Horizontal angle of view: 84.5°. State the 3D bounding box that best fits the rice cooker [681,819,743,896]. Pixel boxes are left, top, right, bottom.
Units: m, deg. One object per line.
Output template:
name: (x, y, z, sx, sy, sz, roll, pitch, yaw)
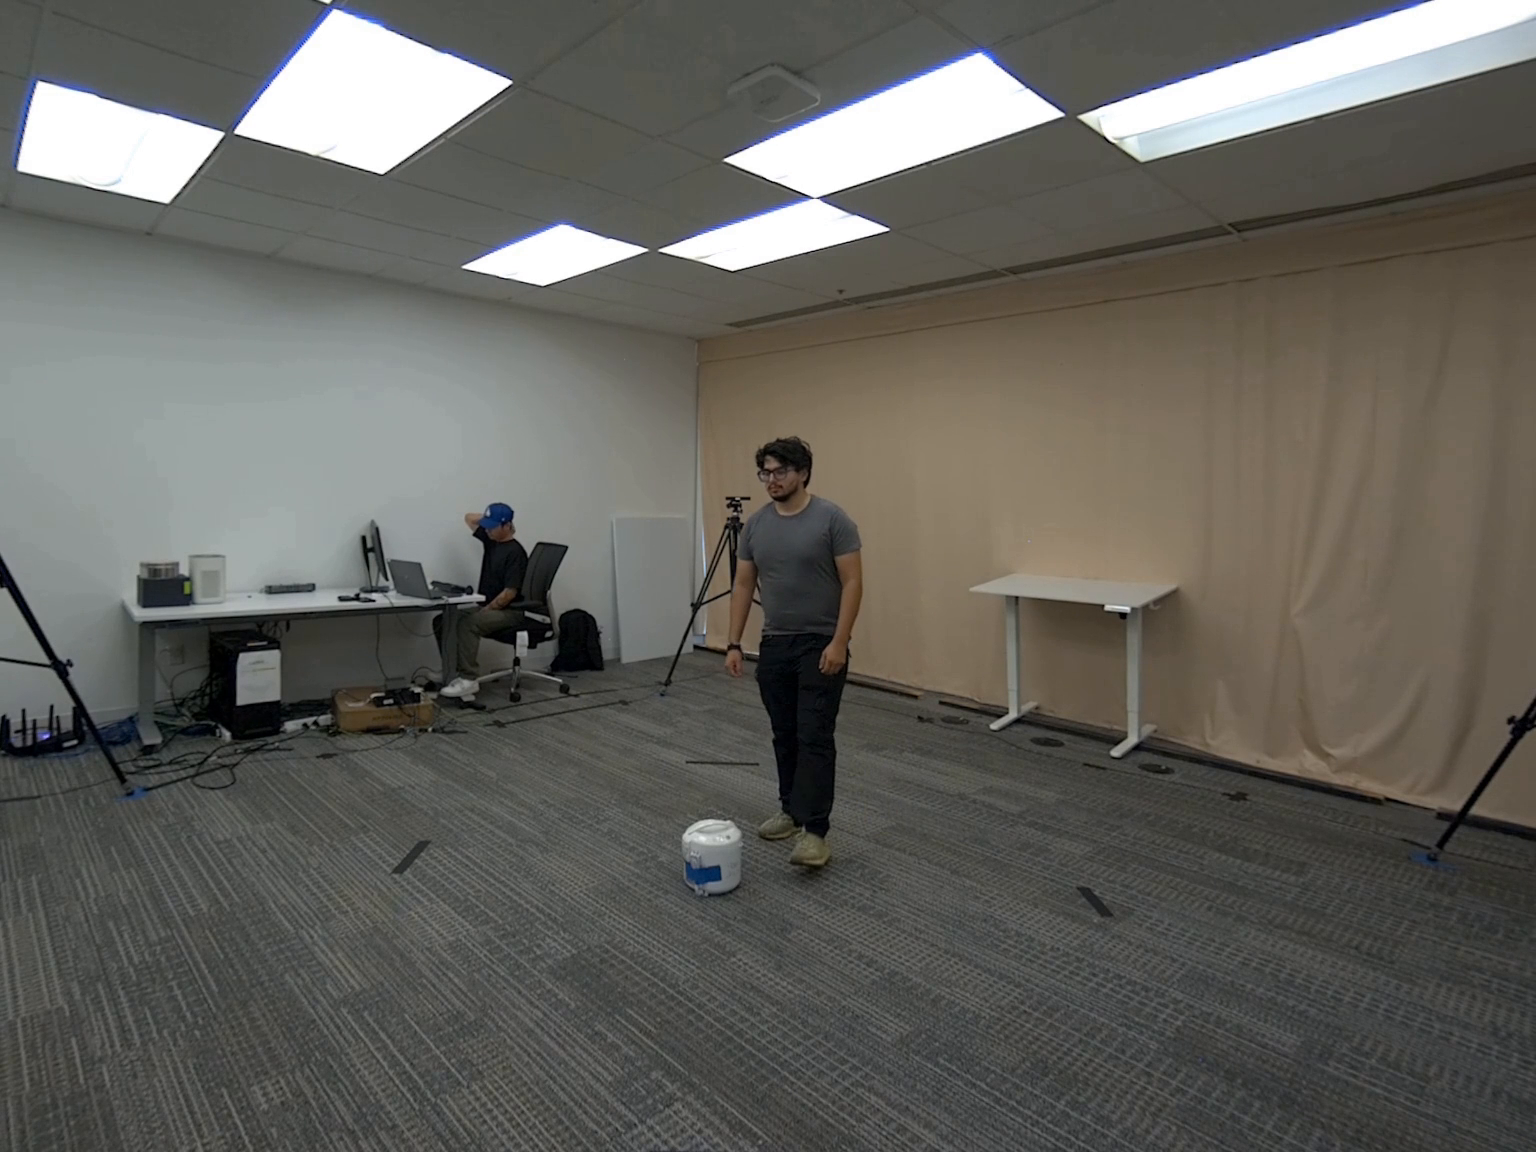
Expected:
rice cooker: (-0.207, 0.992, 3.026, 0.217, 0.232, 0.221, 0, 4, -21)
